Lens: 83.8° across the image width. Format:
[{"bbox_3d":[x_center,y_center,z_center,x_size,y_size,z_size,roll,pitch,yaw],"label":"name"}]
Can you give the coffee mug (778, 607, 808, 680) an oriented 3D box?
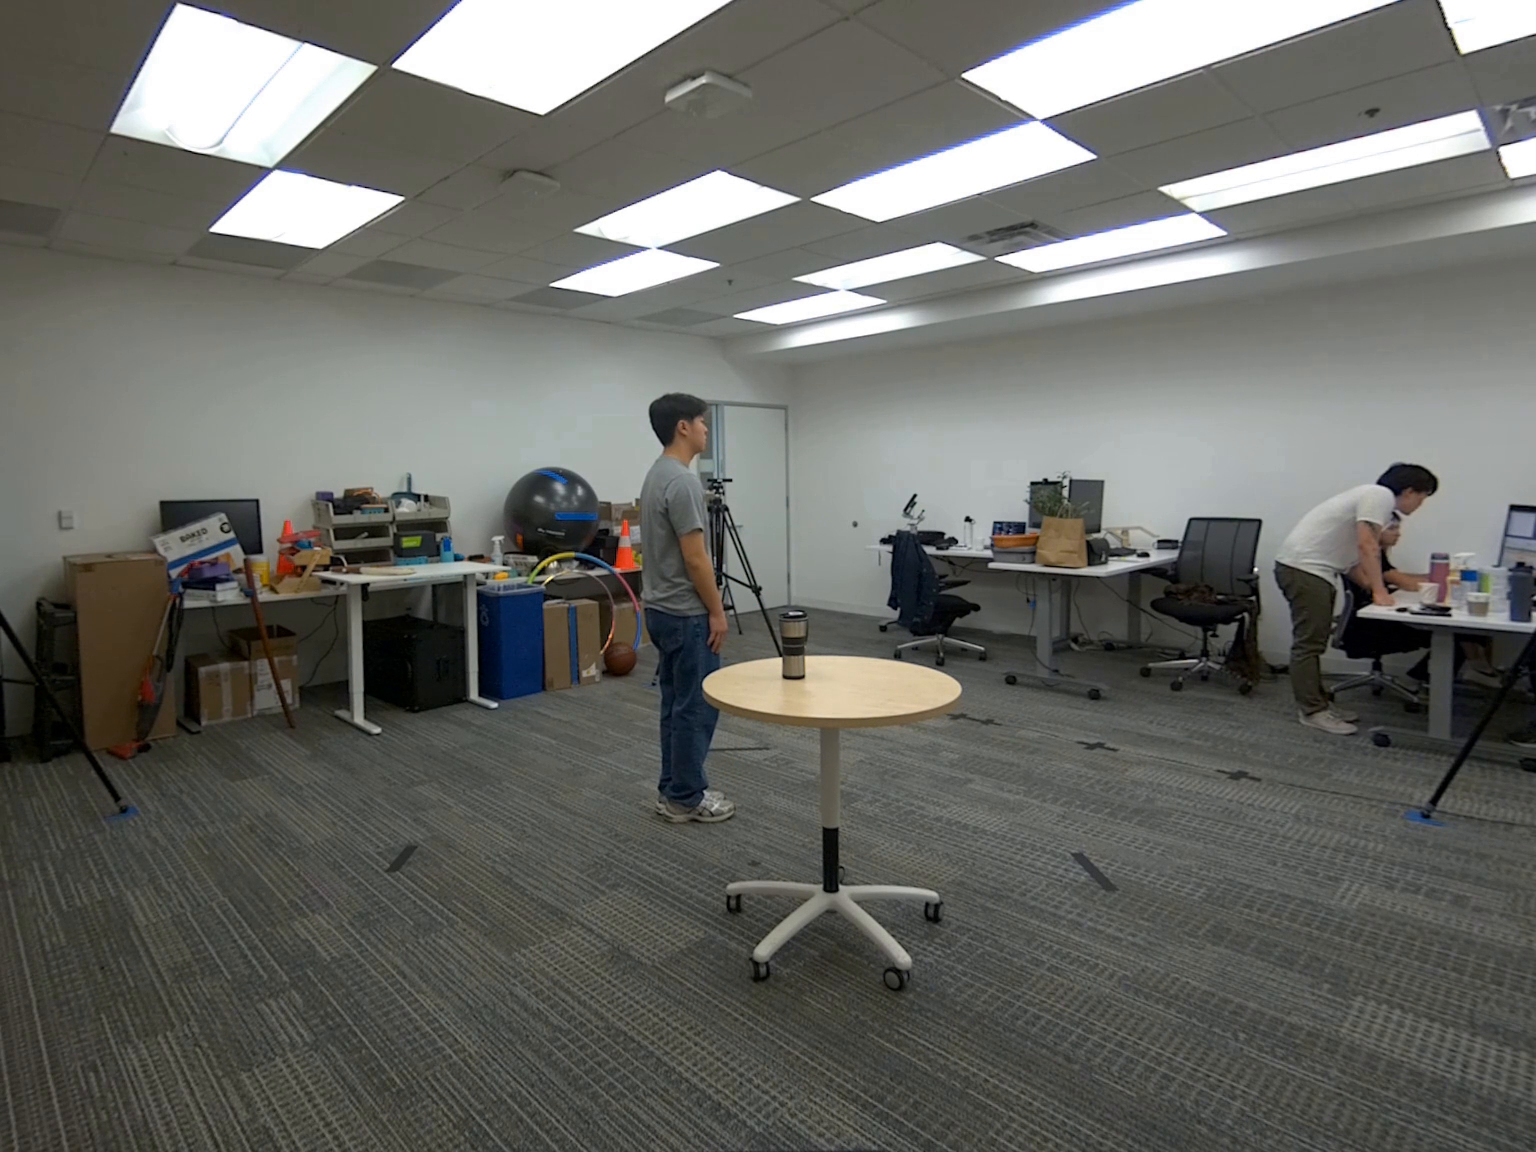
[{"bbox_3d":[0.104,0.214,2.640,0.119,0.202,0.090,-8,4,-41],"label":"coffee mug"}]
